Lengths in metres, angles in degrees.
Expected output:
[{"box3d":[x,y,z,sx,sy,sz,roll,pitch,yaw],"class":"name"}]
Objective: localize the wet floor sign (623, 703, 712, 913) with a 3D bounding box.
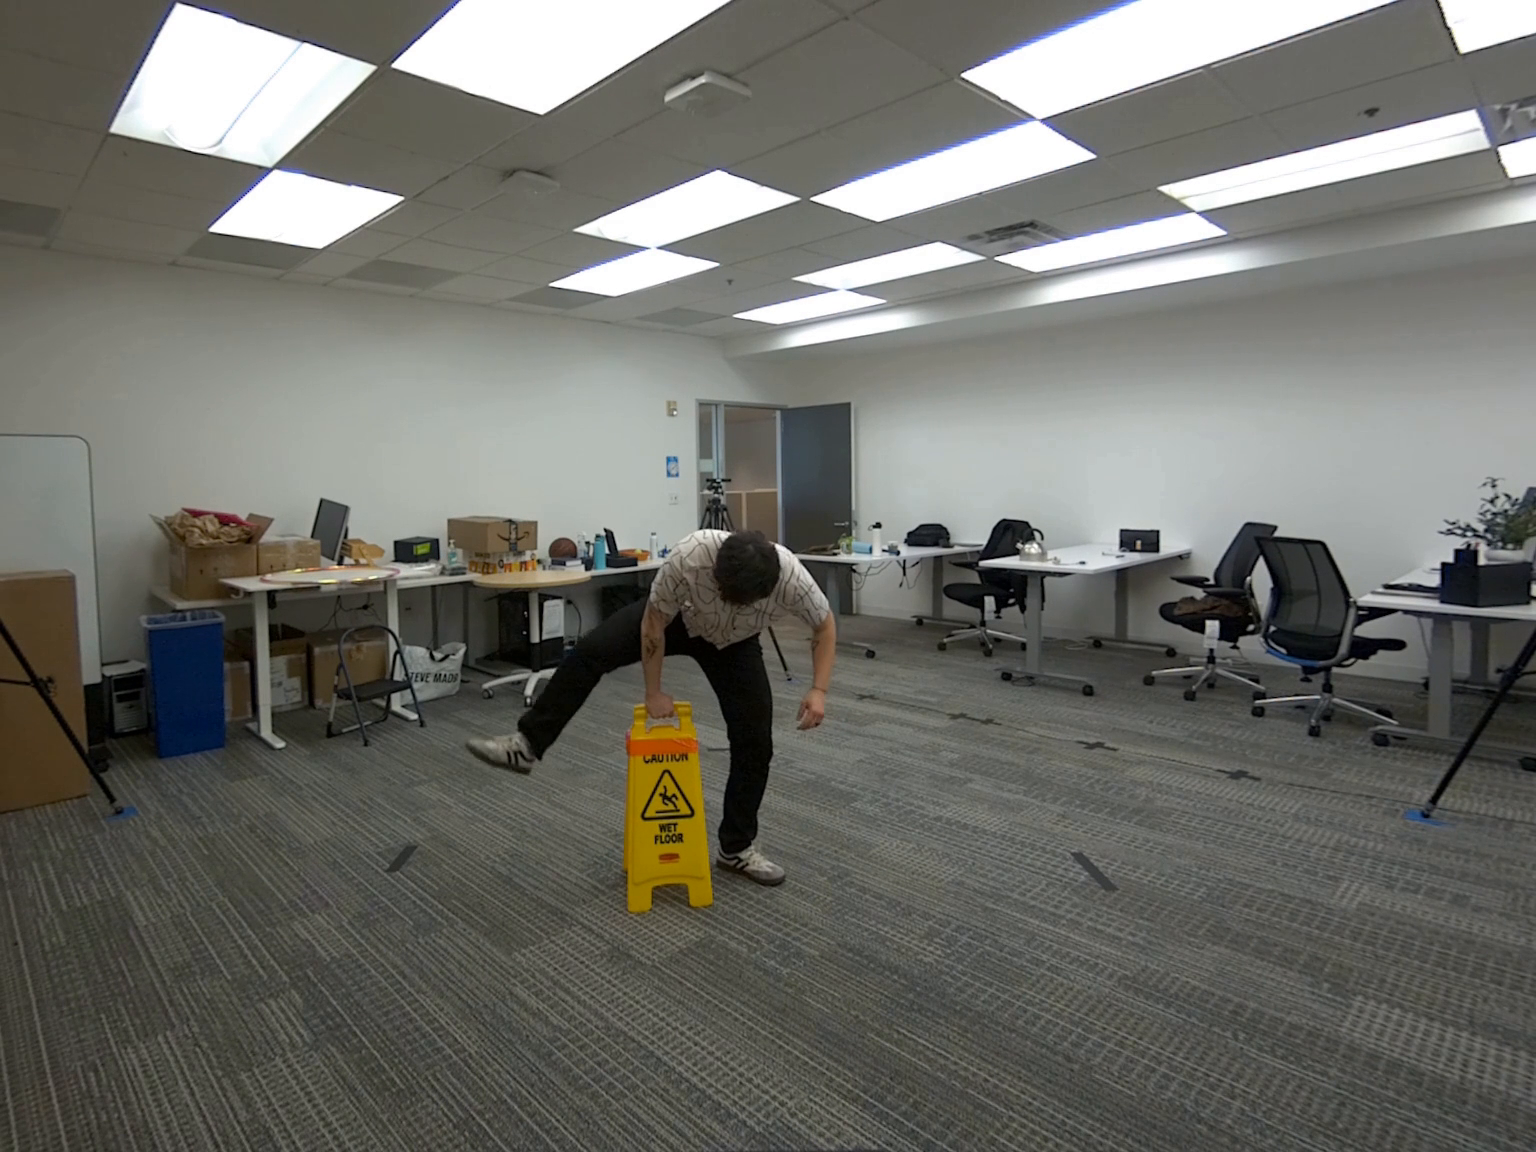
[{"box3d":[-0.353,0.748,2.912,0.280,0.643,0.294,-2,5,-10],"class":"wet floor sign"}]
